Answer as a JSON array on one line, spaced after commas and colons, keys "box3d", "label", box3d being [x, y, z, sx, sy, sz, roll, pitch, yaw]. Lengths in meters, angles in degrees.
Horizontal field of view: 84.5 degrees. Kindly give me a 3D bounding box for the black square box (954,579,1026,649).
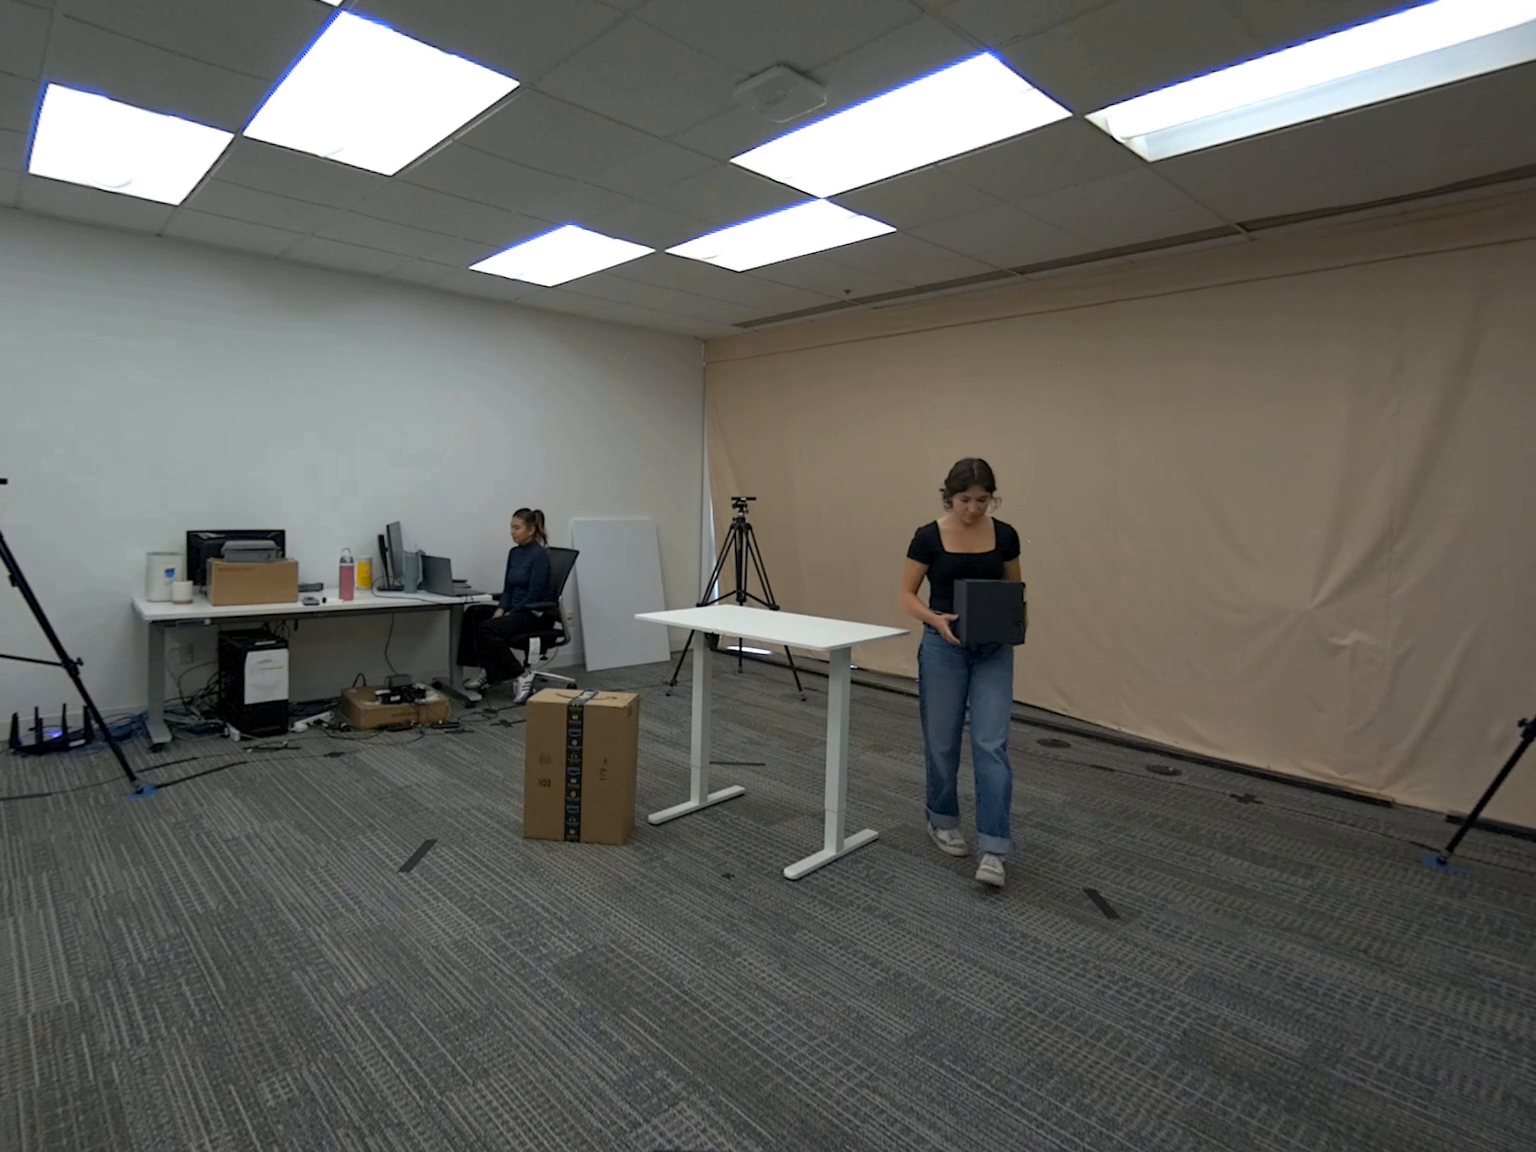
[{"box3d": [0.814, 0.124, 3.084, 0.217, 0.228, 0.156, 2, 2, 0], "label": "black square box"}]
